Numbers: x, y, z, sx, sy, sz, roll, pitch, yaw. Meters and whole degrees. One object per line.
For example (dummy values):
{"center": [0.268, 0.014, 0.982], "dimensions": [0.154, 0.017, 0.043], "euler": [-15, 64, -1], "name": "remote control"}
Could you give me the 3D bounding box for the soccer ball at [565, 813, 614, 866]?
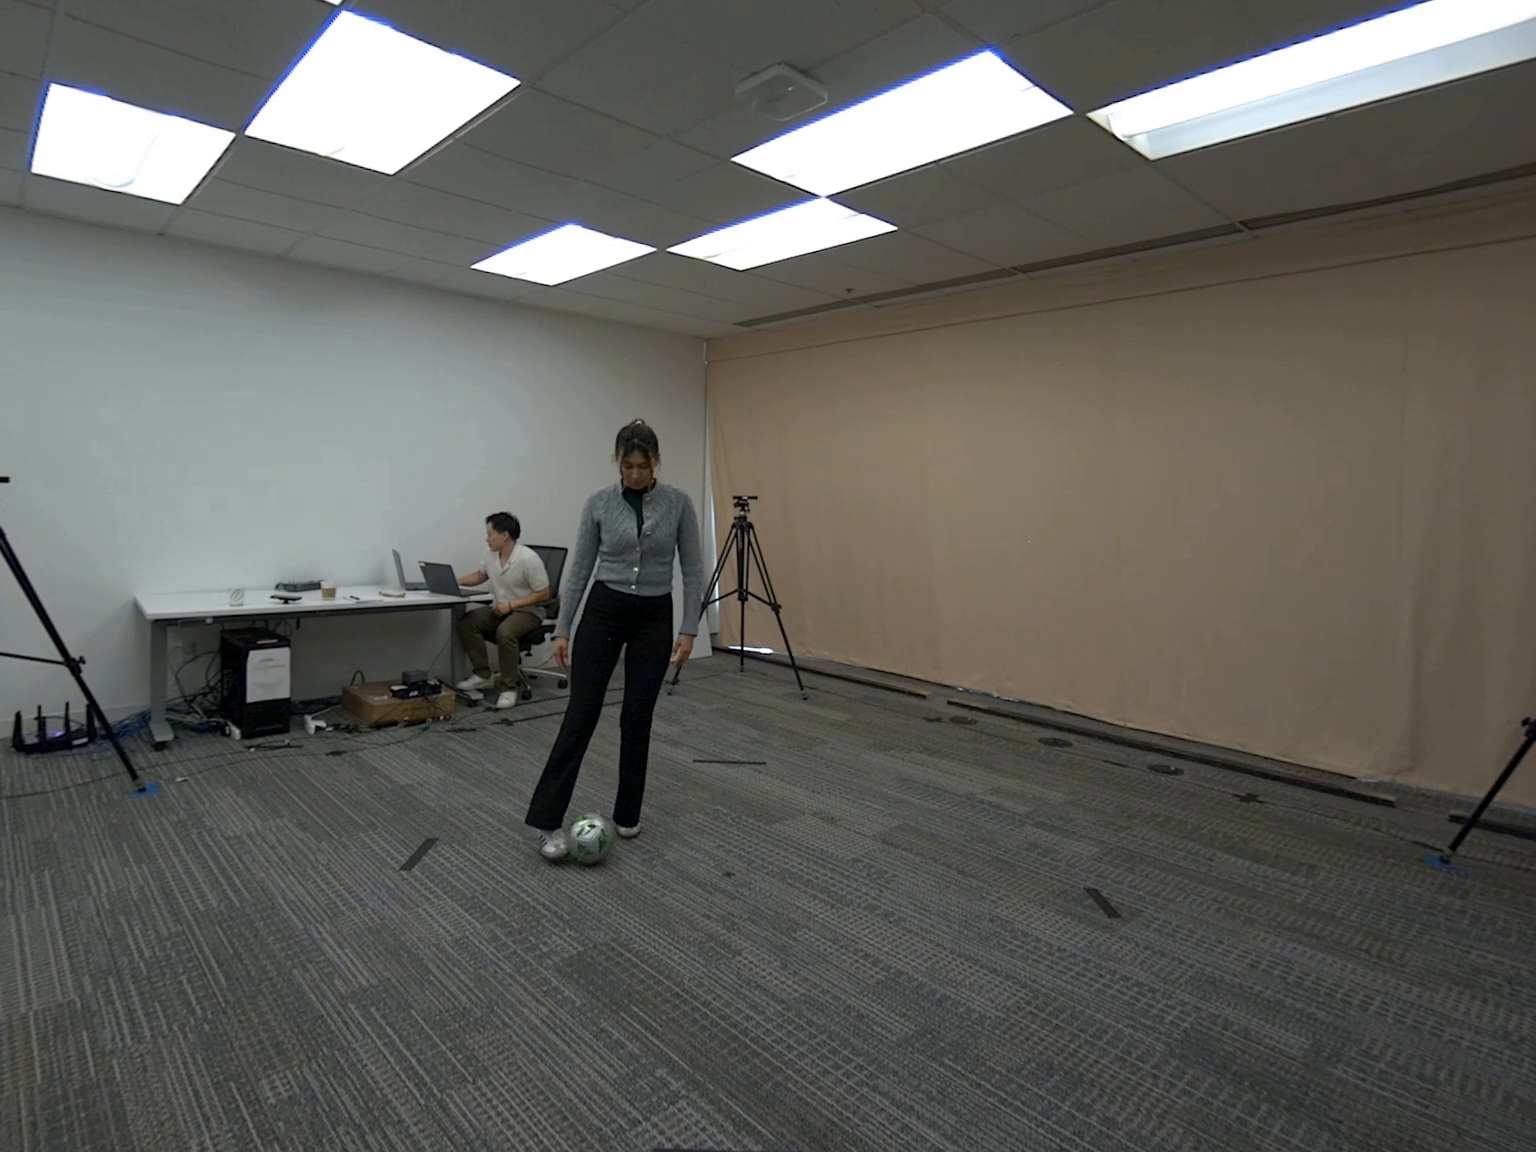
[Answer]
{"center": [-0.681, 0.992, 3.167], "dimensions": [0.187, 0.187, 0.188], "euler": [1, 4, -1], "name": "soccer ball"}
